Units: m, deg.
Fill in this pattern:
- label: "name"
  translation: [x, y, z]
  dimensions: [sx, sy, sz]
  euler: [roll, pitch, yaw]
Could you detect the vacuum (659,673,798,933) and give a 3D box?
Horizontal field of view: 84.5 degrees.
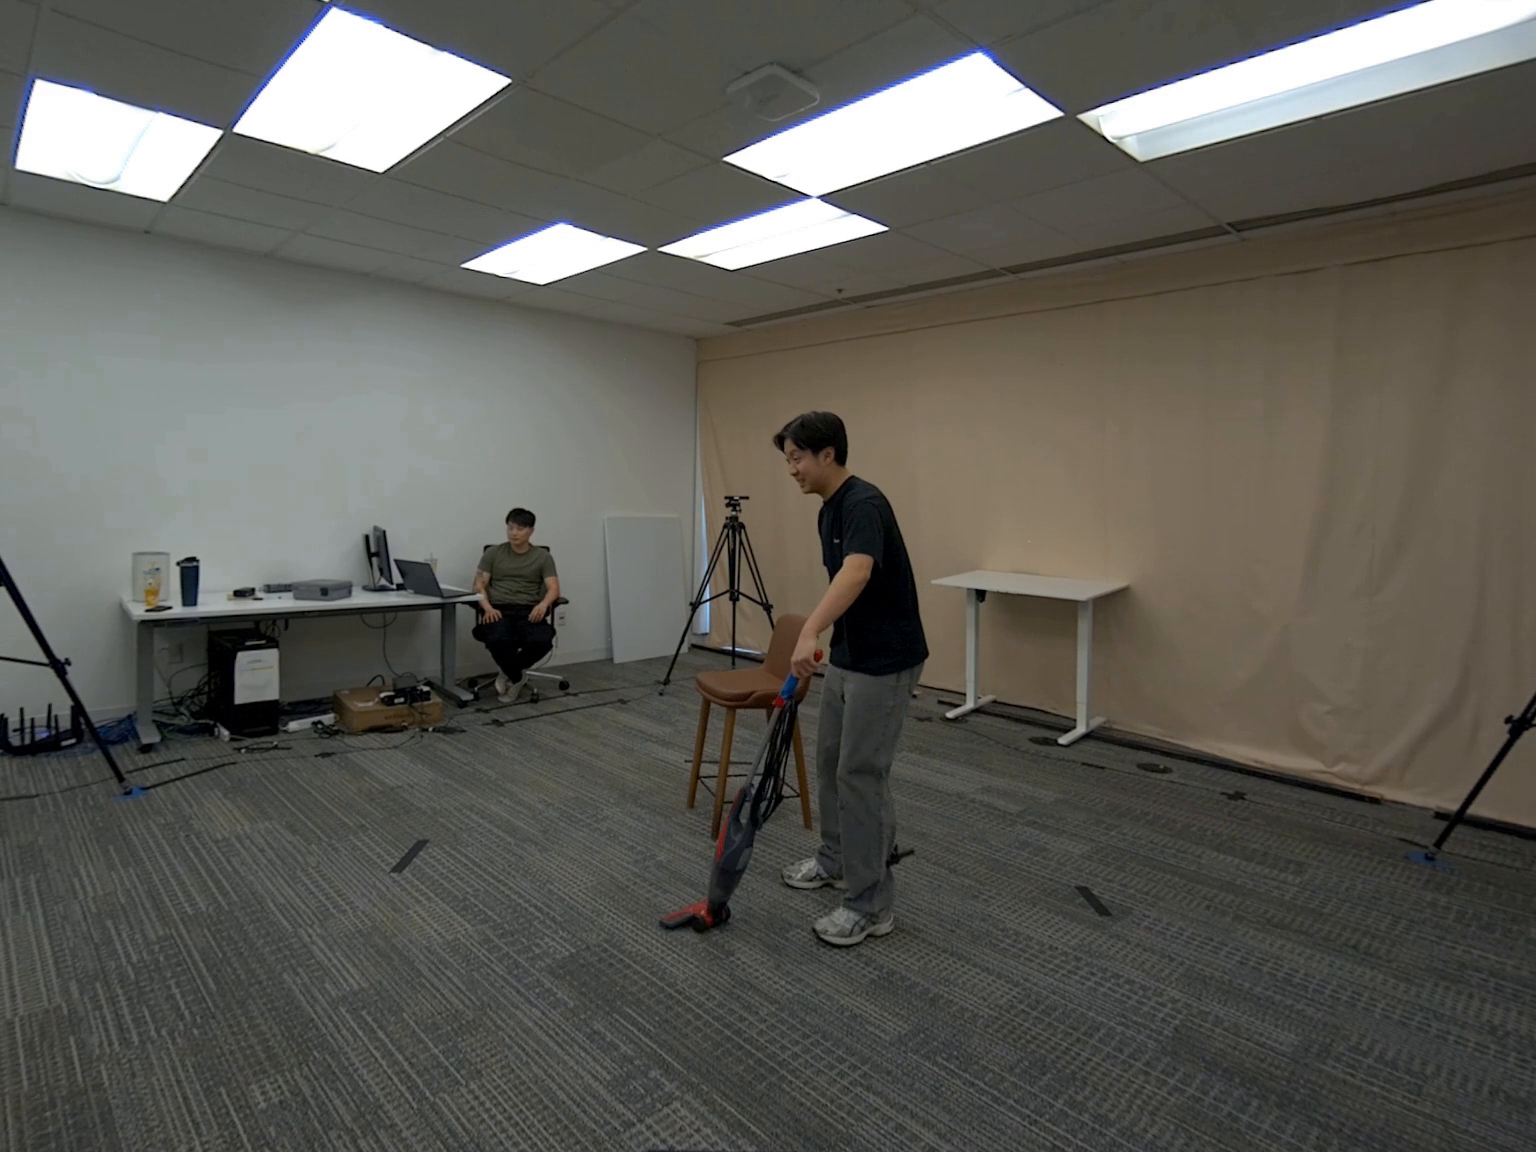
- label: "vacuum"
  translation: [-0.043, 0.684, 2.585]
  dimensions: [0.148, 1.041, 0.247]
  euler: [33, 23, 29]
